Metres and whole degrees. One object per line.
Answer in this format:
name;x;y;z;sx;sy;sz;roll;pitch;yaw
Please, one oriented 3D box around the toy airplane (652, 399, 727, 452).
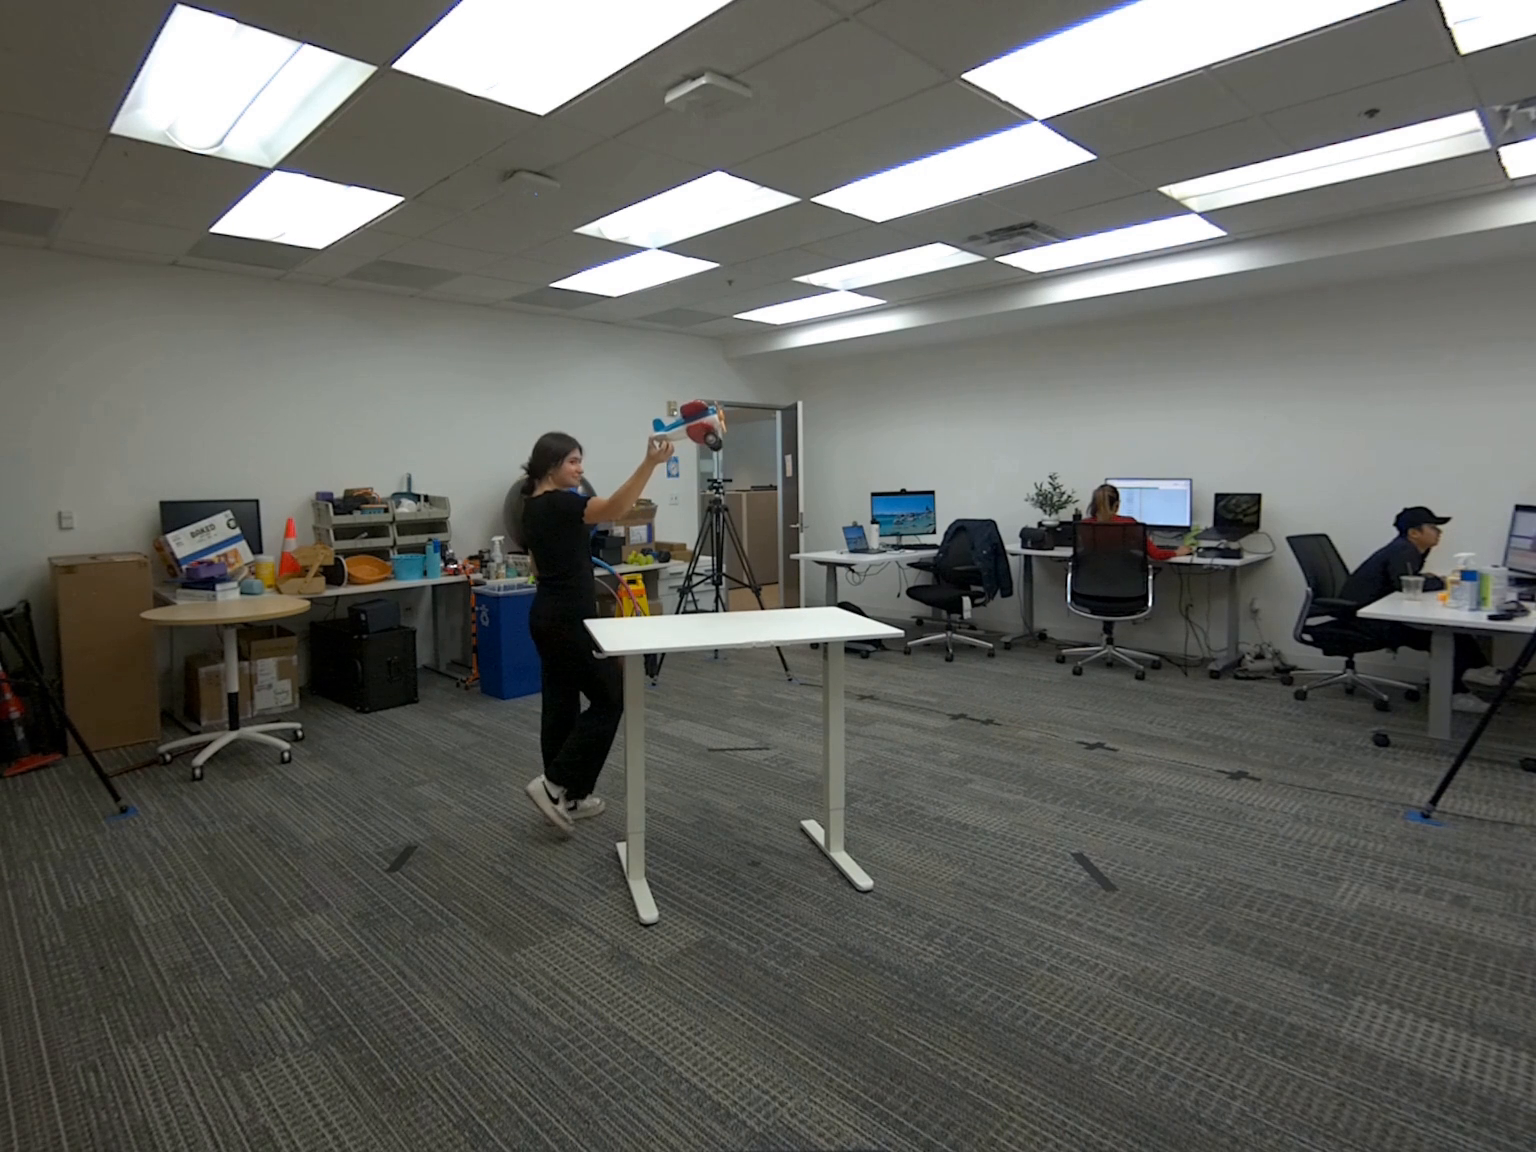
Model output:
toy airplane;-0.277;-0.523;3.037;0.255;0.157;0.254;-1;-6;-19
